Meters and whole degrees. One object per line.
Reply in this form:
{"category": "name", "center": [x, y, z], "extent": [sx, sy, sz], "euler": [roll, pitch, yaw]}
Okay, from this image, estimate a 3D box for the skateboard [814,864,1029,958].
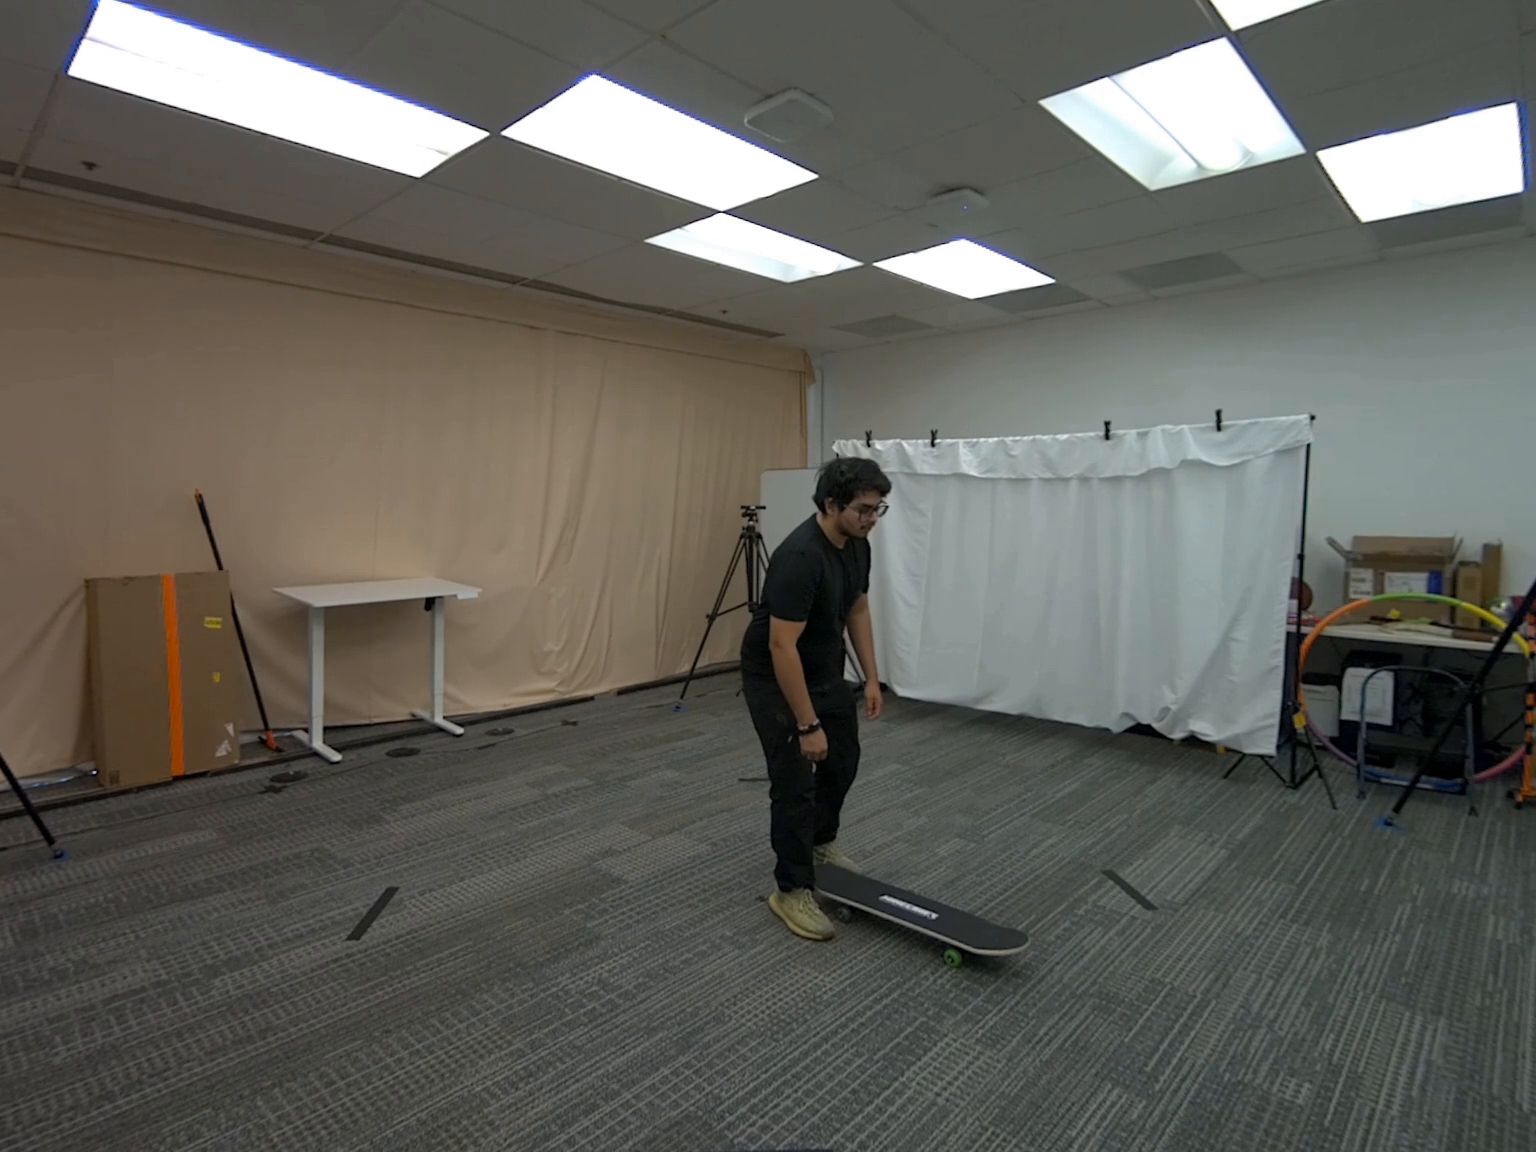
{"category": "skateboard", "center": [0.465, 1.110, 2.732], "extent": [0.811, 0.110, 0.187], "euler": [4, 6, 41]}
